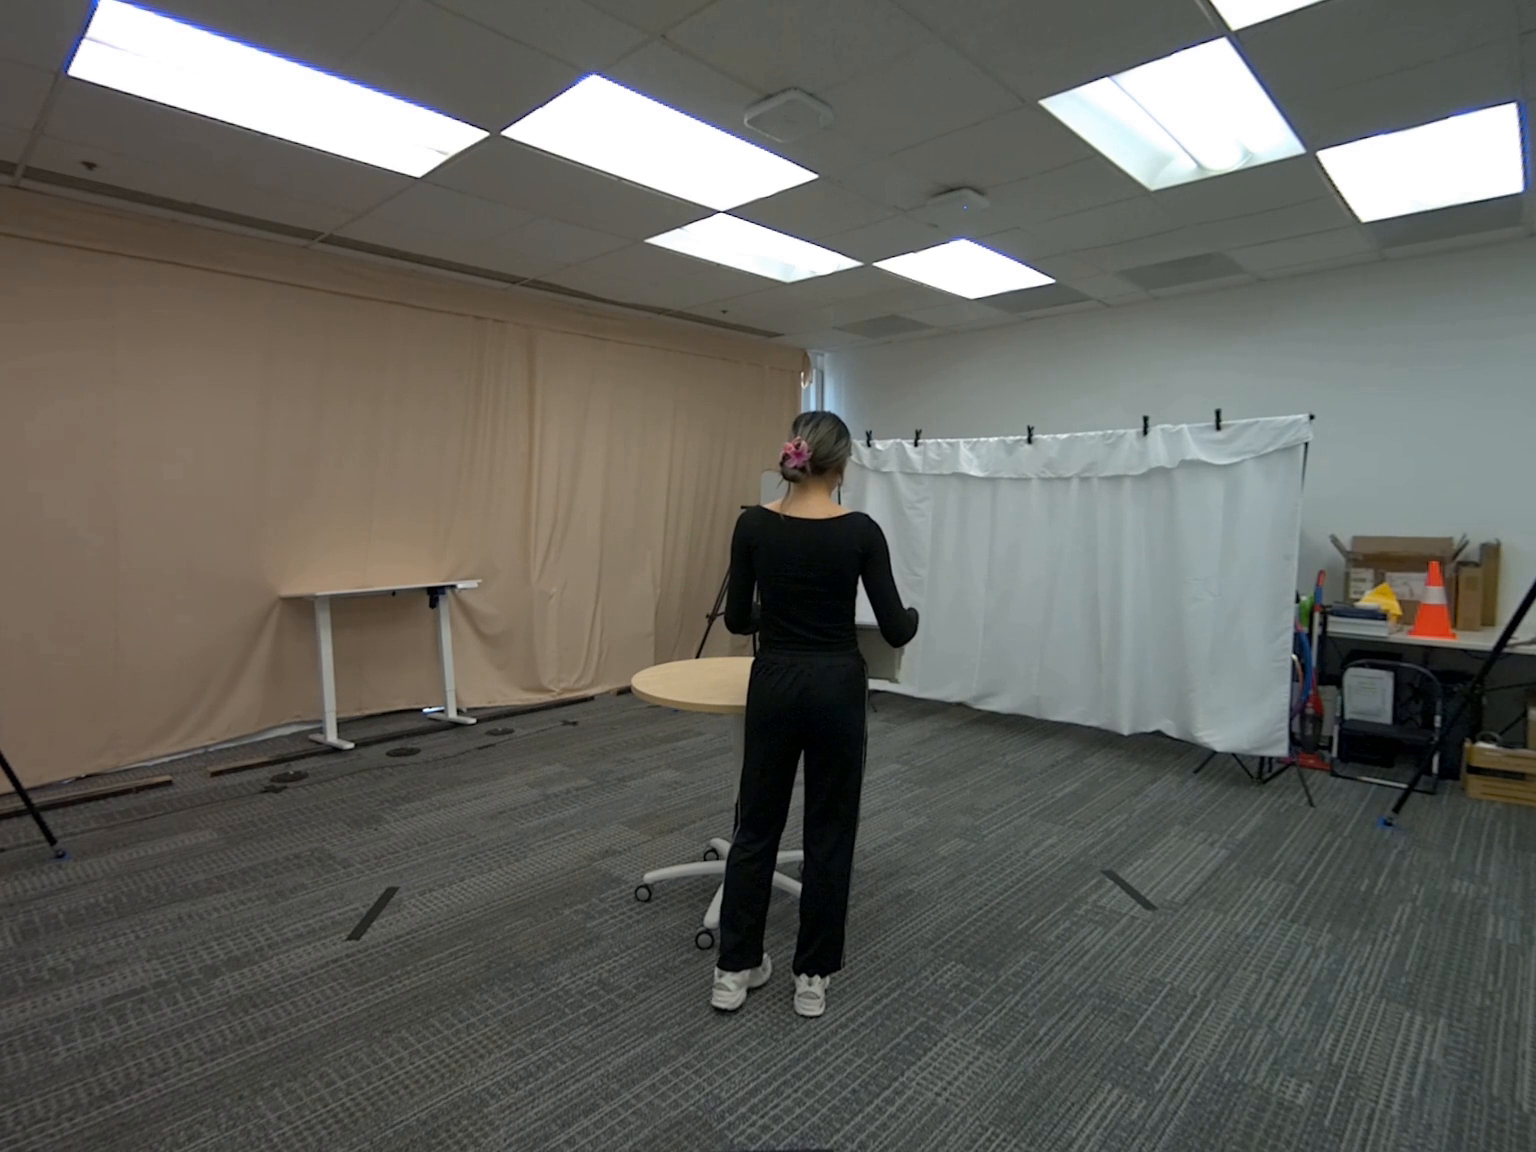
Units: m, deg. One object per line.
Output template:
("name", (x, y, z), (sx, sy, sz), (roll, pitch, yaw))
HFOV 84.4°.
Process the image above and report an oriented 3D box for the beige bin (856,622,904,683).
("beige bin", (0.235, 0.193, 2.690), (0.428, 0.188, 0.374), (4, 12, 12))
